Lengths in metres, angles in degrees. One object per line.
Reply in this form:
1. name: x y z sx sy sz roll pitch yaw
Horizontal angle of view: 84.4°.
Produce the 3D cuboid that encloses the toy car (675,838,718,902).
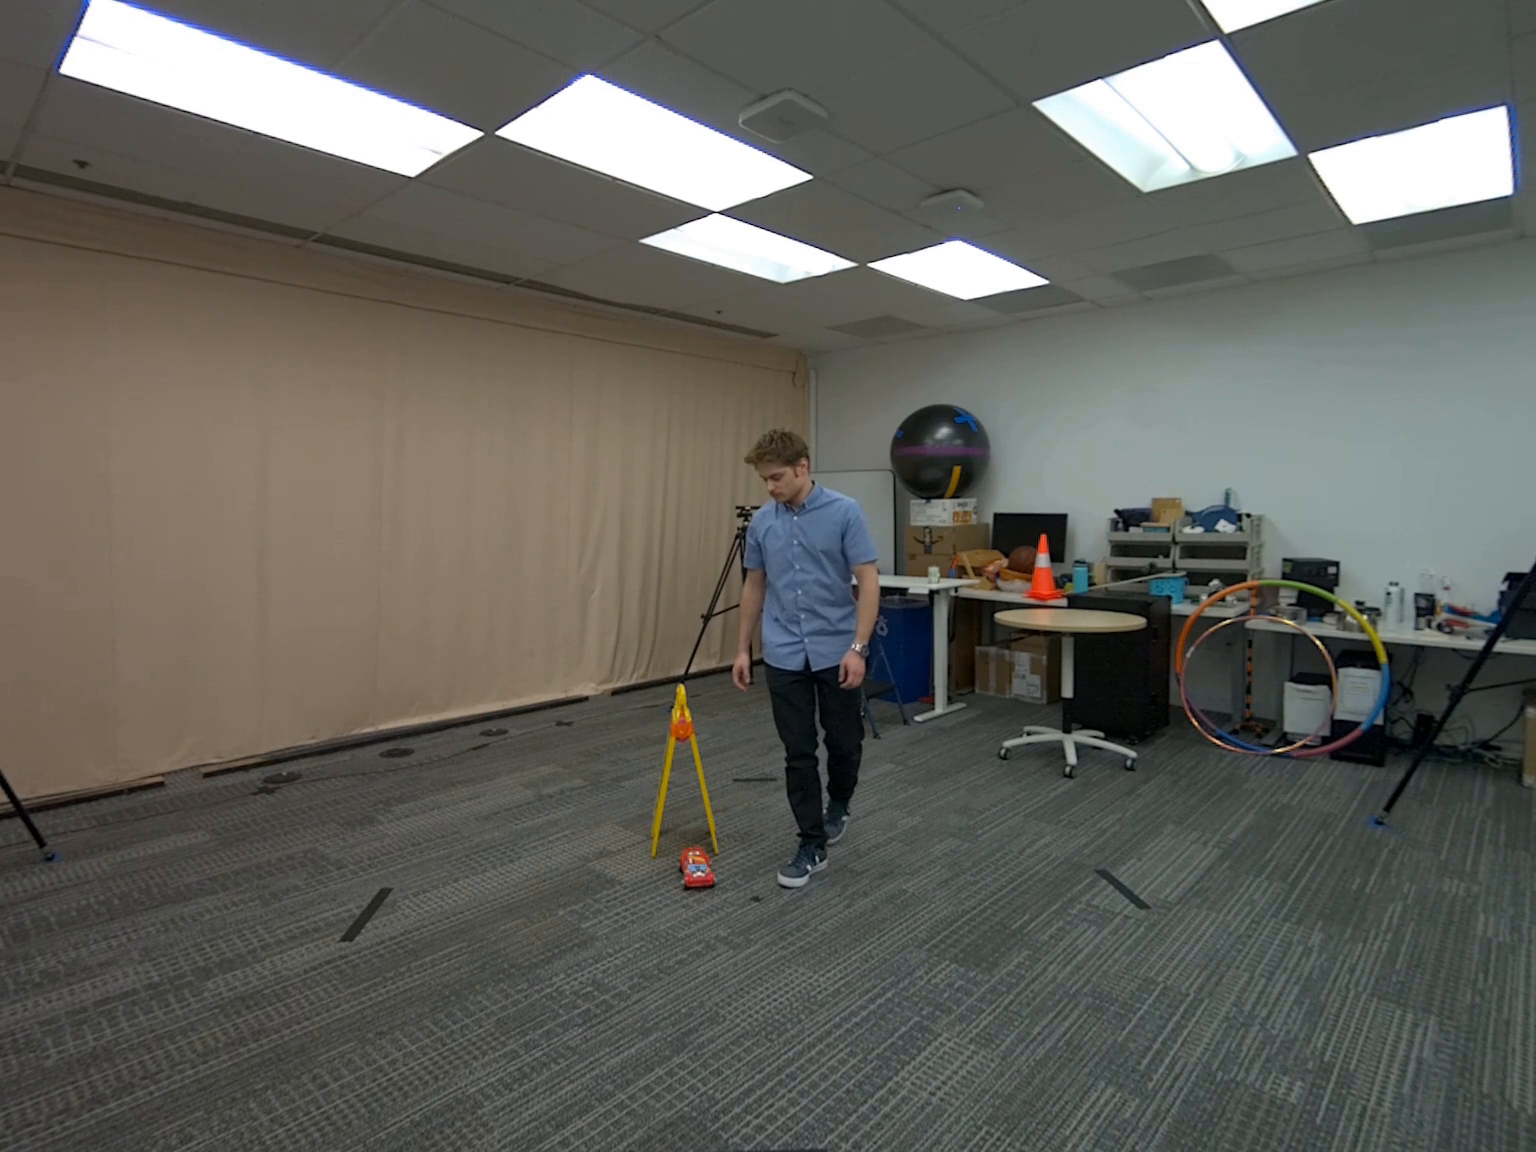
1. toy car: -0.273 1.095 3.170 0.129 0.082 0.259 -2 16 -11
